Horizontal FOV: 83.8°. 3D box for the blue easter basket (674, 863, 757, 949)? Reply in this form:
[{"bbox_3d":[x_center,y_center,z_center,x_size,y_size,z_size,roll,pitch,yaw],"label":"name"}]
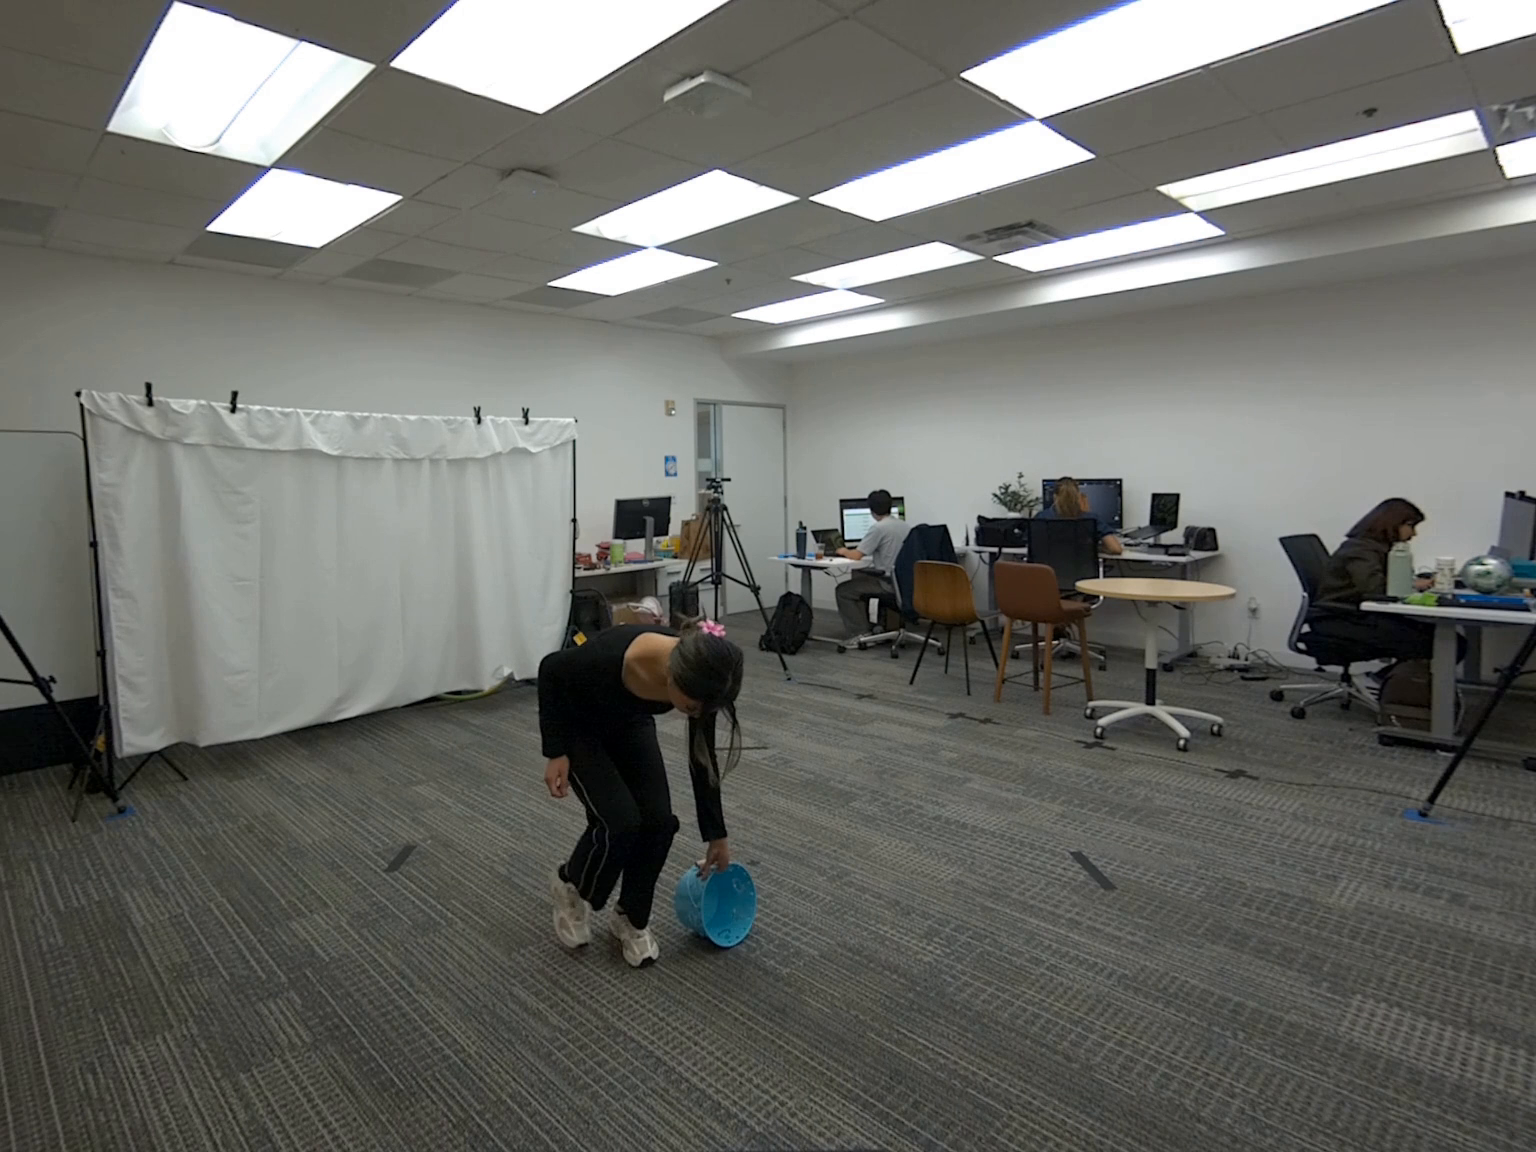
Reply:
[{"bbox_3d":[-0.160,0.991,2.629,0.237,0.245,0.159,-6,-5,-45],"label":"blue easter basket"}]
